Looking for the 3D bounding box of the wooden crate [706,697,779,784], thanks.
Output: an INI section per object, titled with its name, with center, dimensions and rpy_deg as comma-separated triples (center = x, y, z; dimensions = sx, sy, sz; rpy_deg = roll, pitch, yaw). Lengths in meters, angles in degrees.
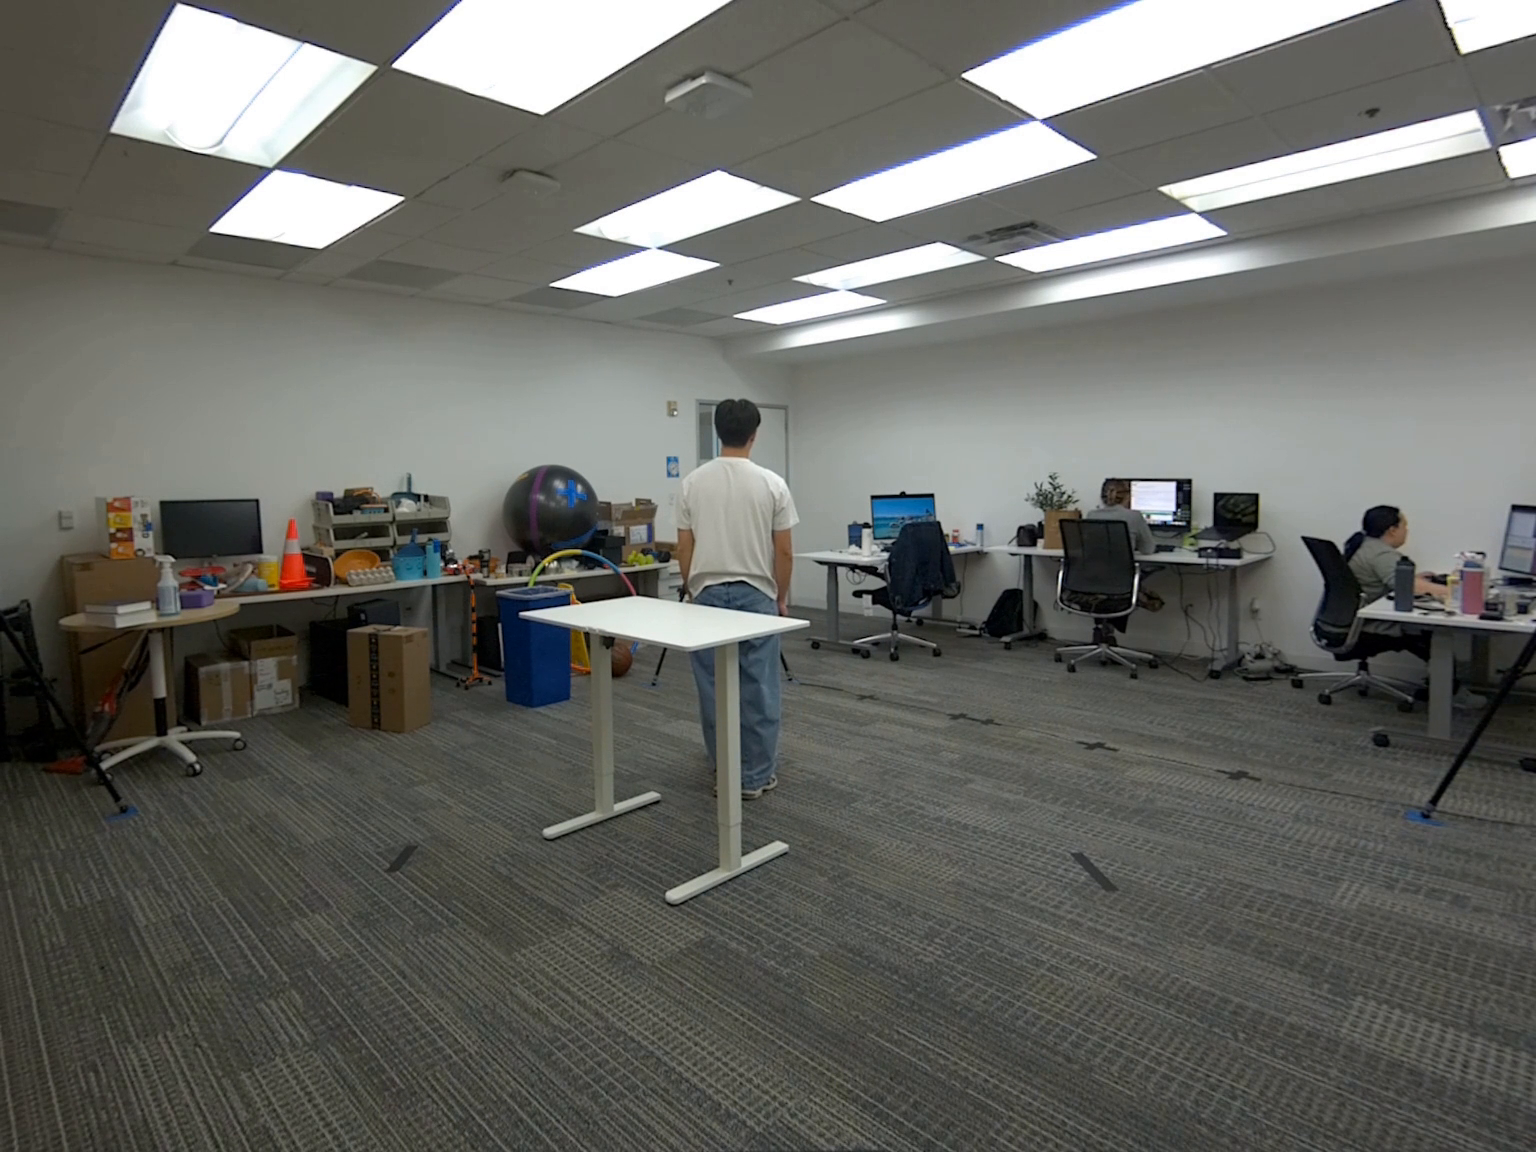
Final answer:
[wooden crate]
center = -0.133, 0.797, 4.202
dimensions = 0.323, 0.297, 0.279
rpy_deg = -1, 21, -5
